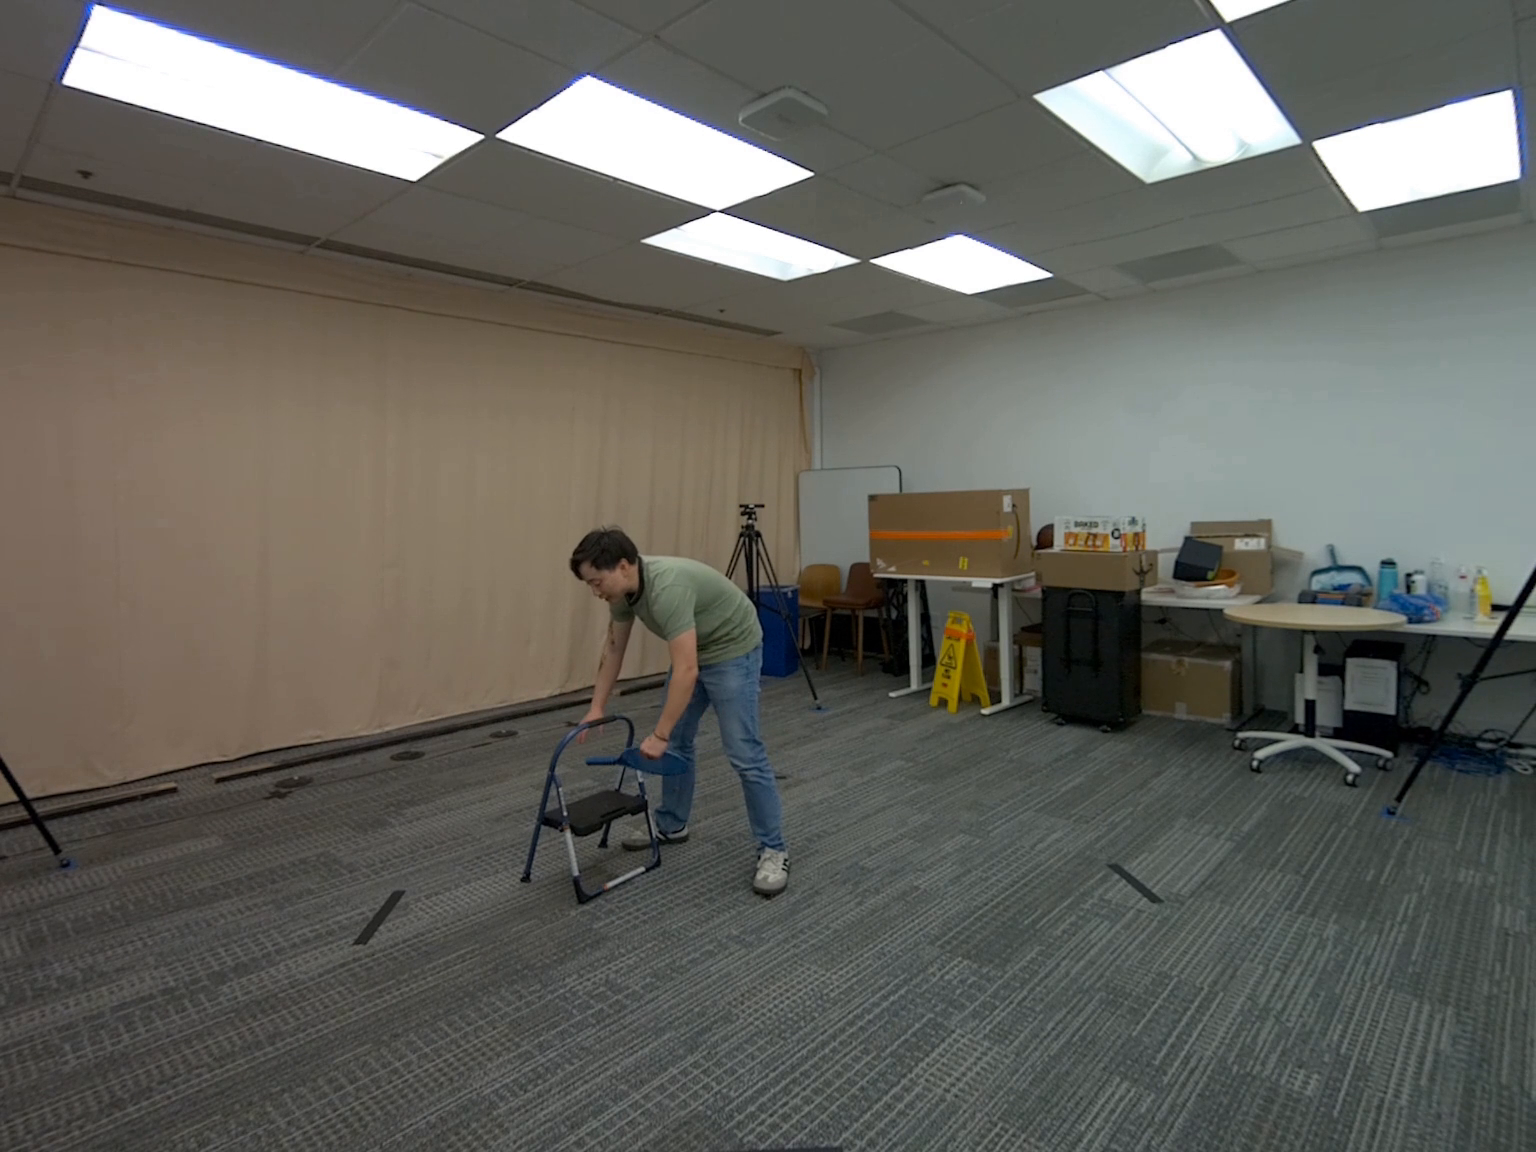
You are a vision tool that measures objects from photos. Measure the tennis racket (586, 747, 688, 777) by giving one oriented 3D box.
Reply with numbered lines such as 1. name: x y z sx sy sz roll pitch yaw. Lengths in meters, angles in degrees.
1. tennis racket: -0.508 0.695 3.109 0.441 0.032 0.207 -8 -44 20
